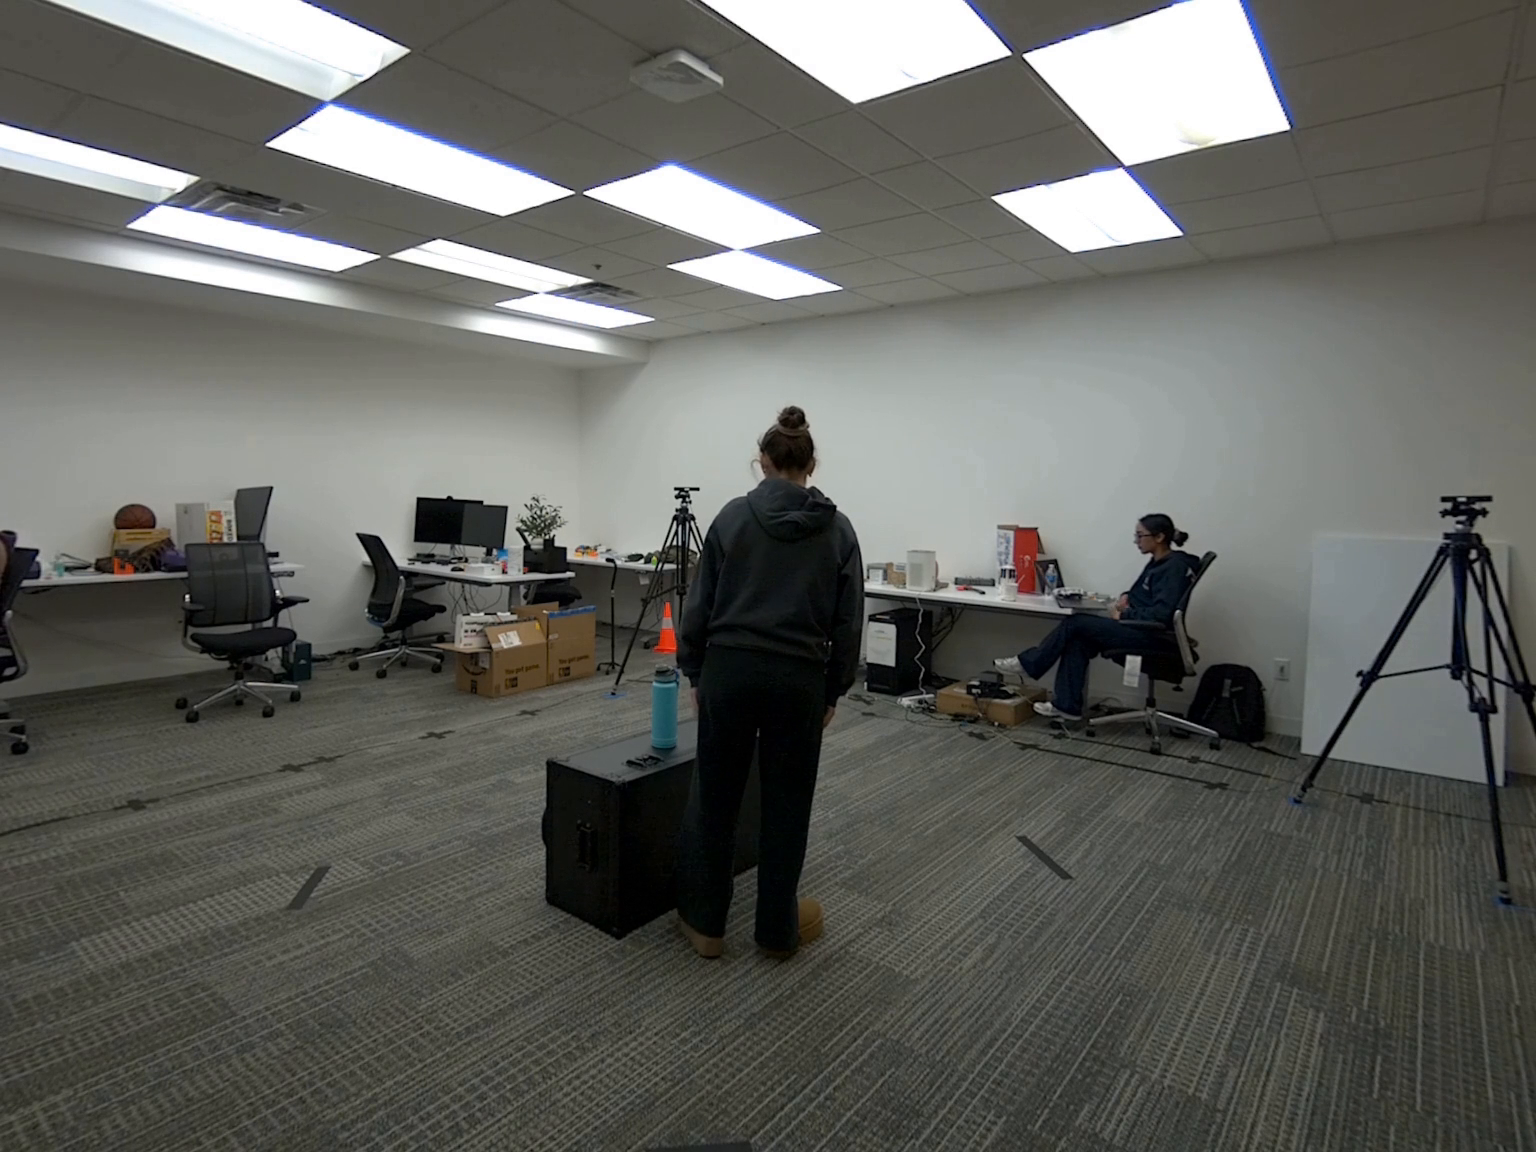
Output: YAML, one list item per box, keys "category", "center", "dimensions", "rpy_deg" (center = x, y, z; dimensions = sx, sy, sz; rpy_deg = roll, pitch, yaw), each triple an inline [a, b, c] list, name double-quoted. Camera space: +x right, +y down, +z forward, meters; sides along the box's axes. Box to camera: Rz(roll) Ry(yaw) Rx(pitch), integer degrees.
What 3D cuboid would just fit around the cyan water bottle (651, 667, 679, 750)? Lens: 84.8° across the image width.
- category: "cyan water bottle"
  center: [-0.368, 0.451, 2.998]
  dimensions: [0.092, 0.282, 0.093]
  rpy_deg: [2, 3, -2]
